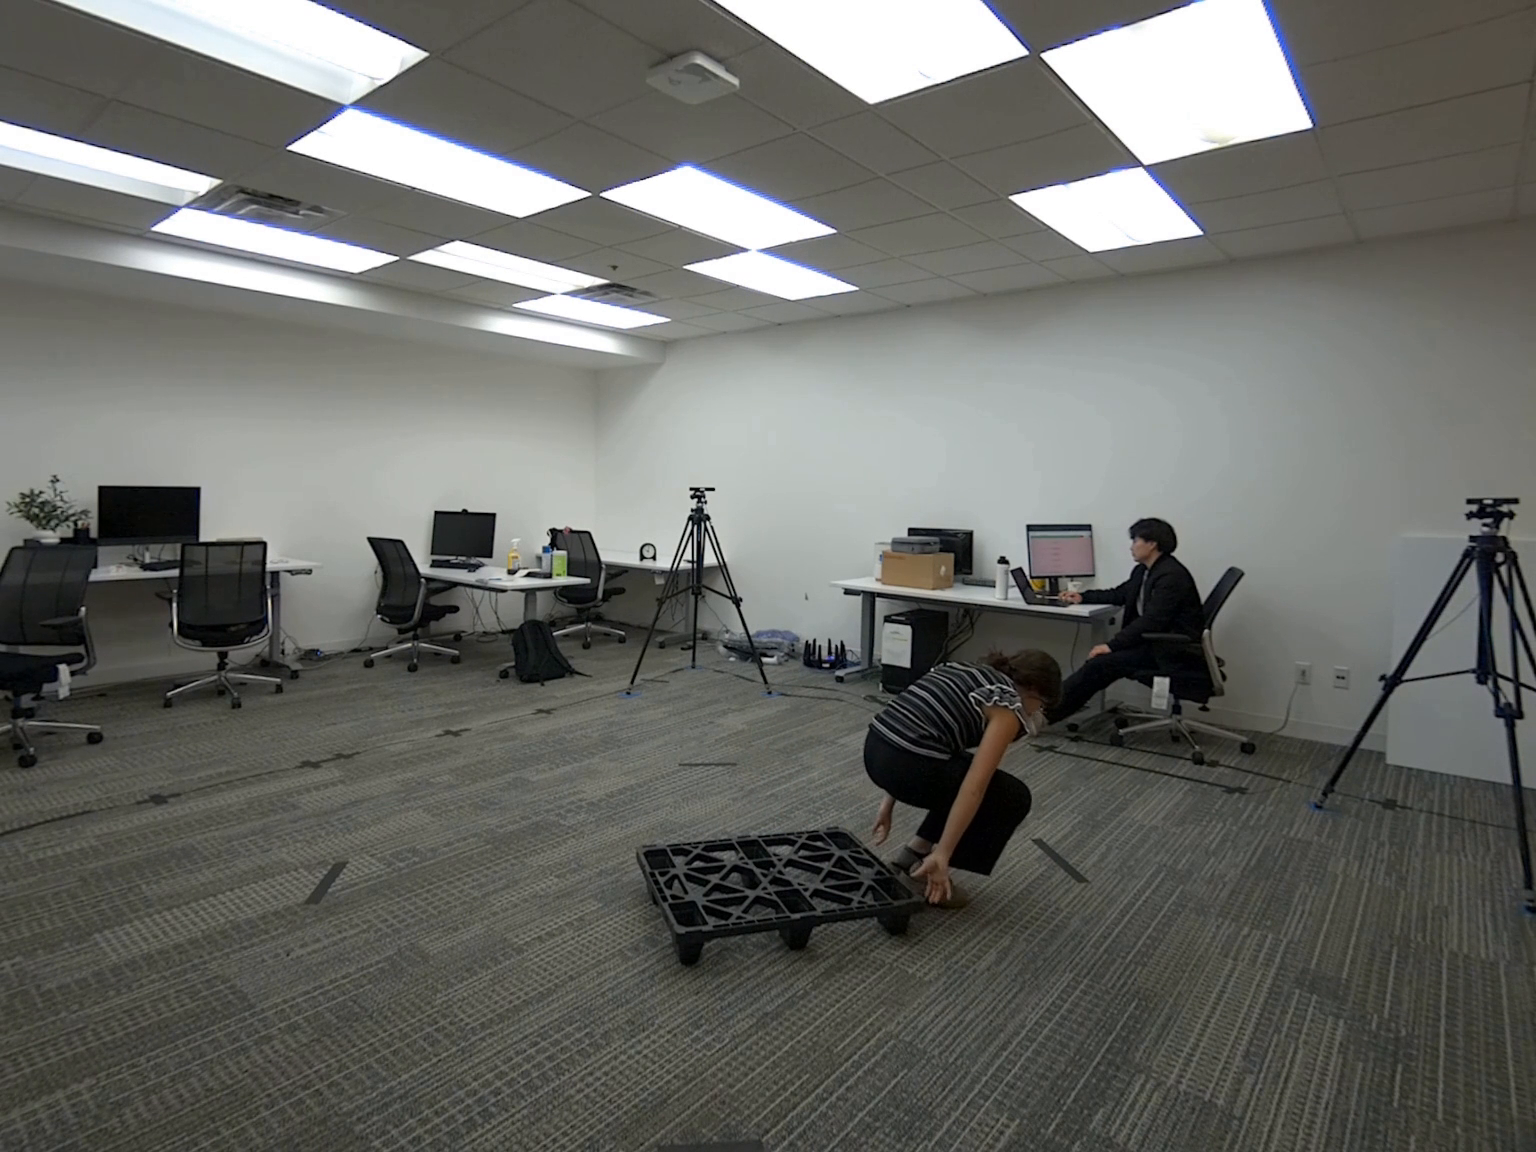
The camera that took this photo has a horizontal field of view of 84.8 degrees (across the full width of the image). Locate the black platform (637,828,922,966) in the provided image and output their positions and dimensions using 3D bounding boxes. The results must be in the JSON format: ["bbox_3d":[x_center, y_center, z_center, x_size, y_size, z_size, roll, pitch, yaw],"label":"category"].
[{"bbox_3d":[0.008,1.034,2.798,0.791,0.142,0.619,-1,7,-18],"label":"black platform"}]
